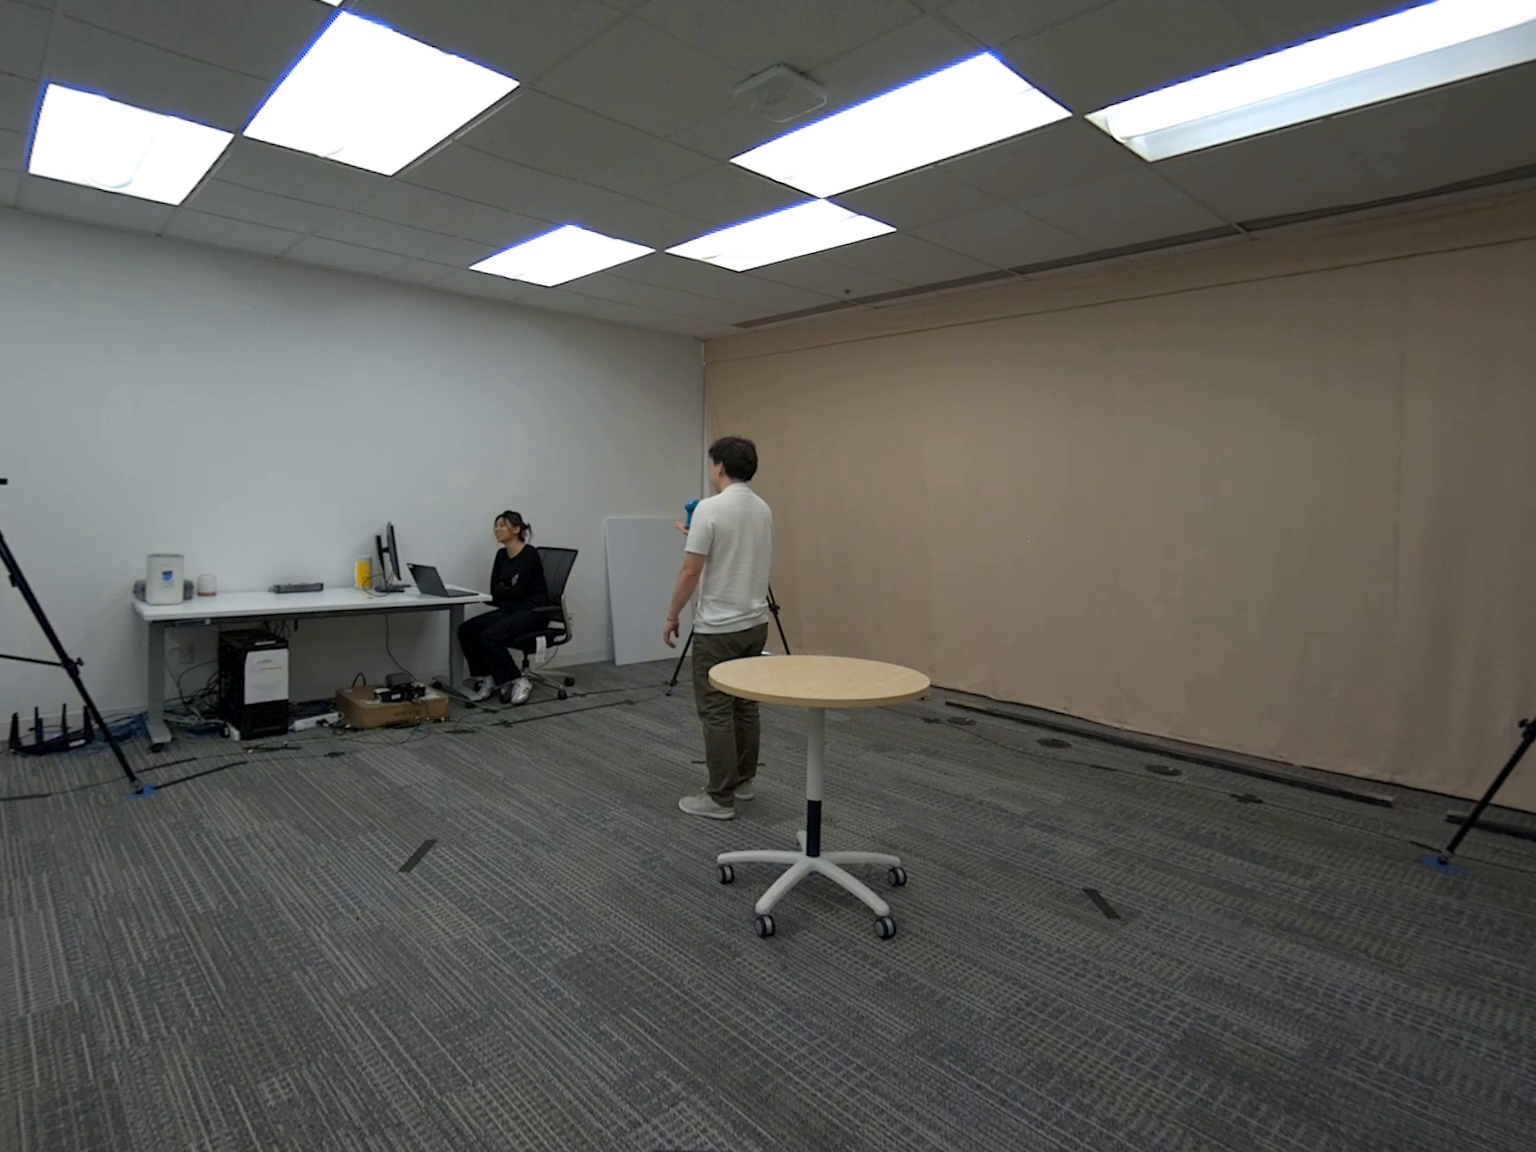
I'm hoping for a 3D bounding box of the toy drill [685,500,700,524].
[{"bbox_3d":[-0.362,-0.307,4.177,0.062,0.145,0.167,4,10,26],"label":"toy drill"}]
